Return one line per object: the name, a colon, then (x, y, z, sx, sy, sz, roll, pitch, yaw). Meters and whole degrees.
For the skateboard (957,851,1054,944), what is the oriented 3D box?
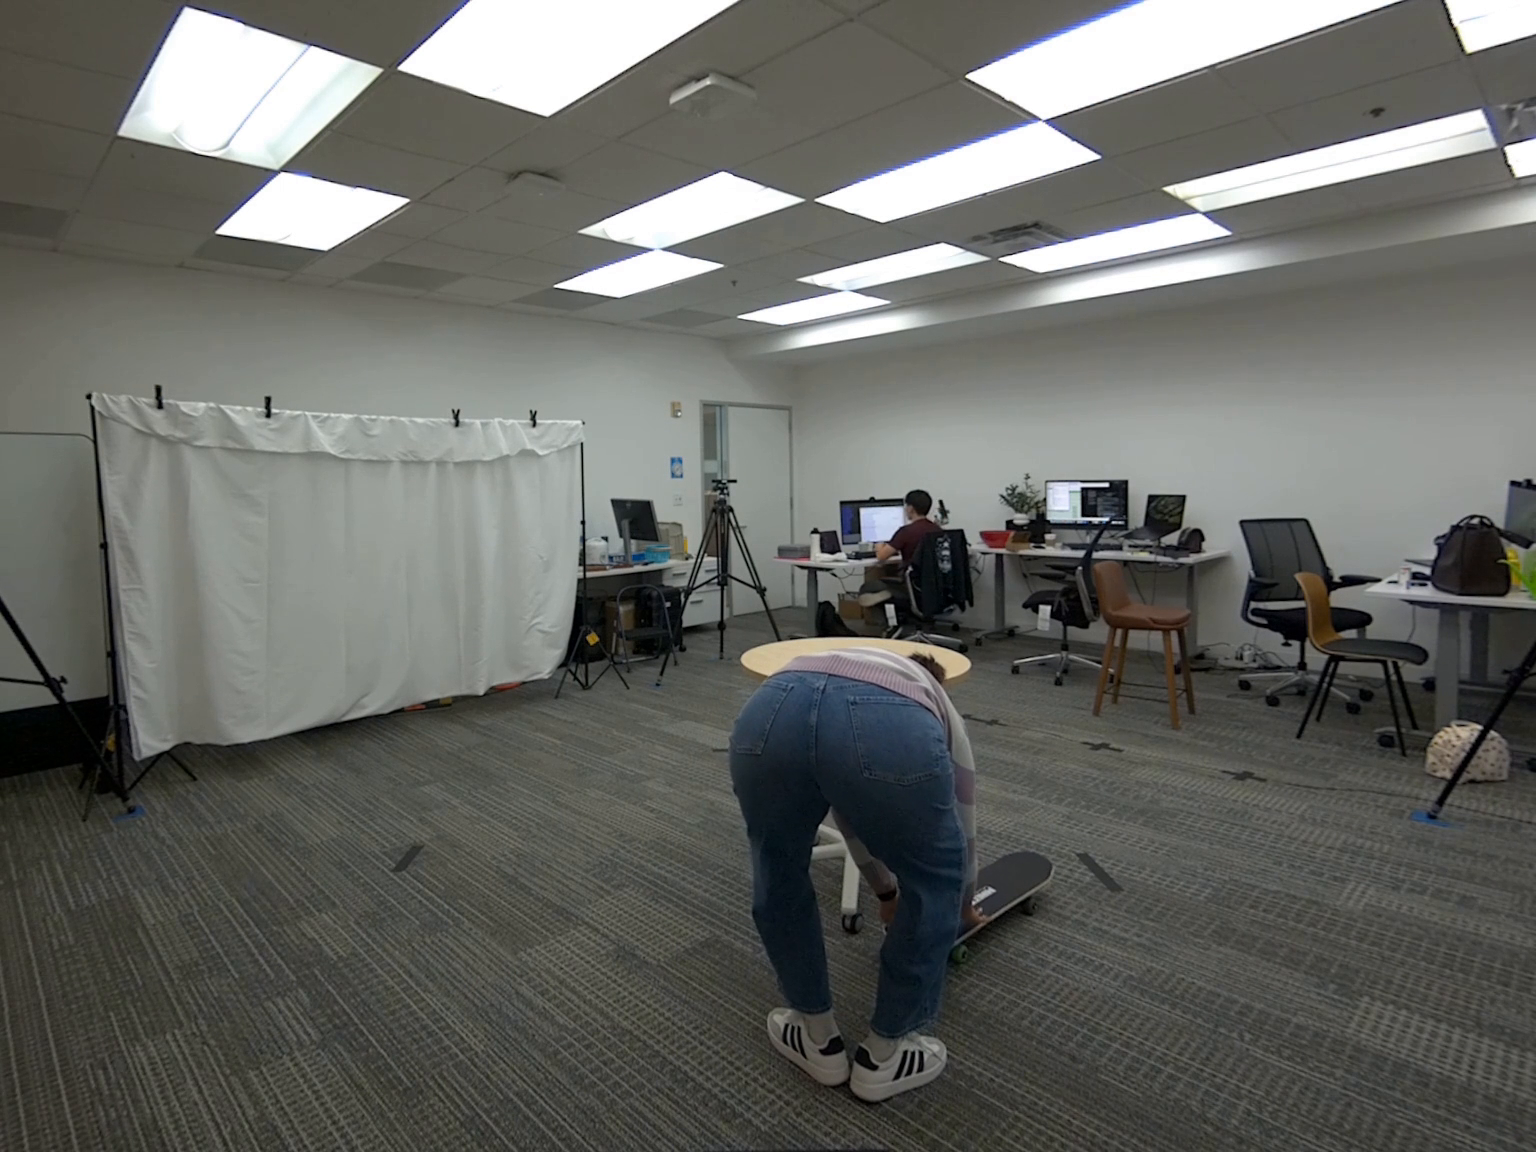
skateboard: (0.632, 1.024, 2.648, 0.765, 0.110, 0.199, -7, 8, -42)
